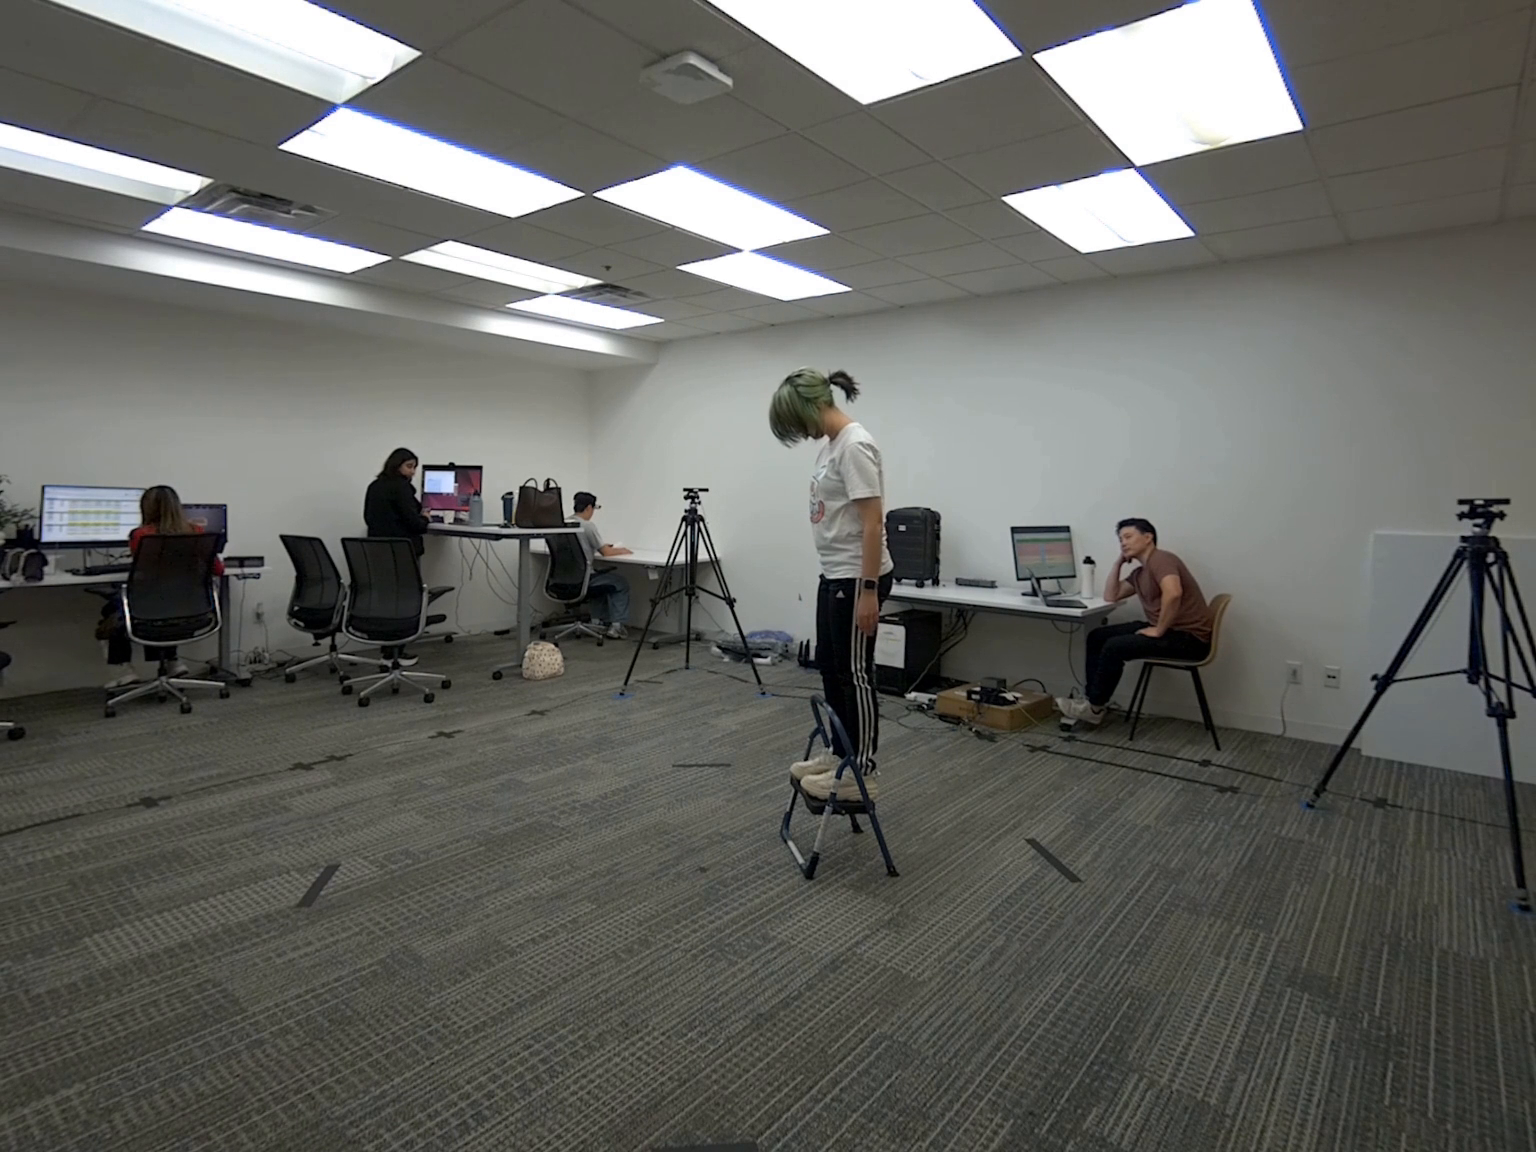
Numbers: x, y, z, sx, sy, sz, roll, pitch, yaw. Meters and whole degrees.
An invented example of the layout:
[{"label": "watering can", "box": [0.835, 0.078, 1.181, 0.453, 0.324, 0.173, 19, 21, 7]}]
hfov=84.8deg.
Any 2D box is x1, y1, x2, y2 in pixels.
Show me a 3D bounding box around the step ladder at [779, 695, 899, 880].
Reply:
[{"label": "step ladder", "box": [0.259, 0.766, 3.255, 0.345, 0.604, 0.437, 2, 3, -12]}]
